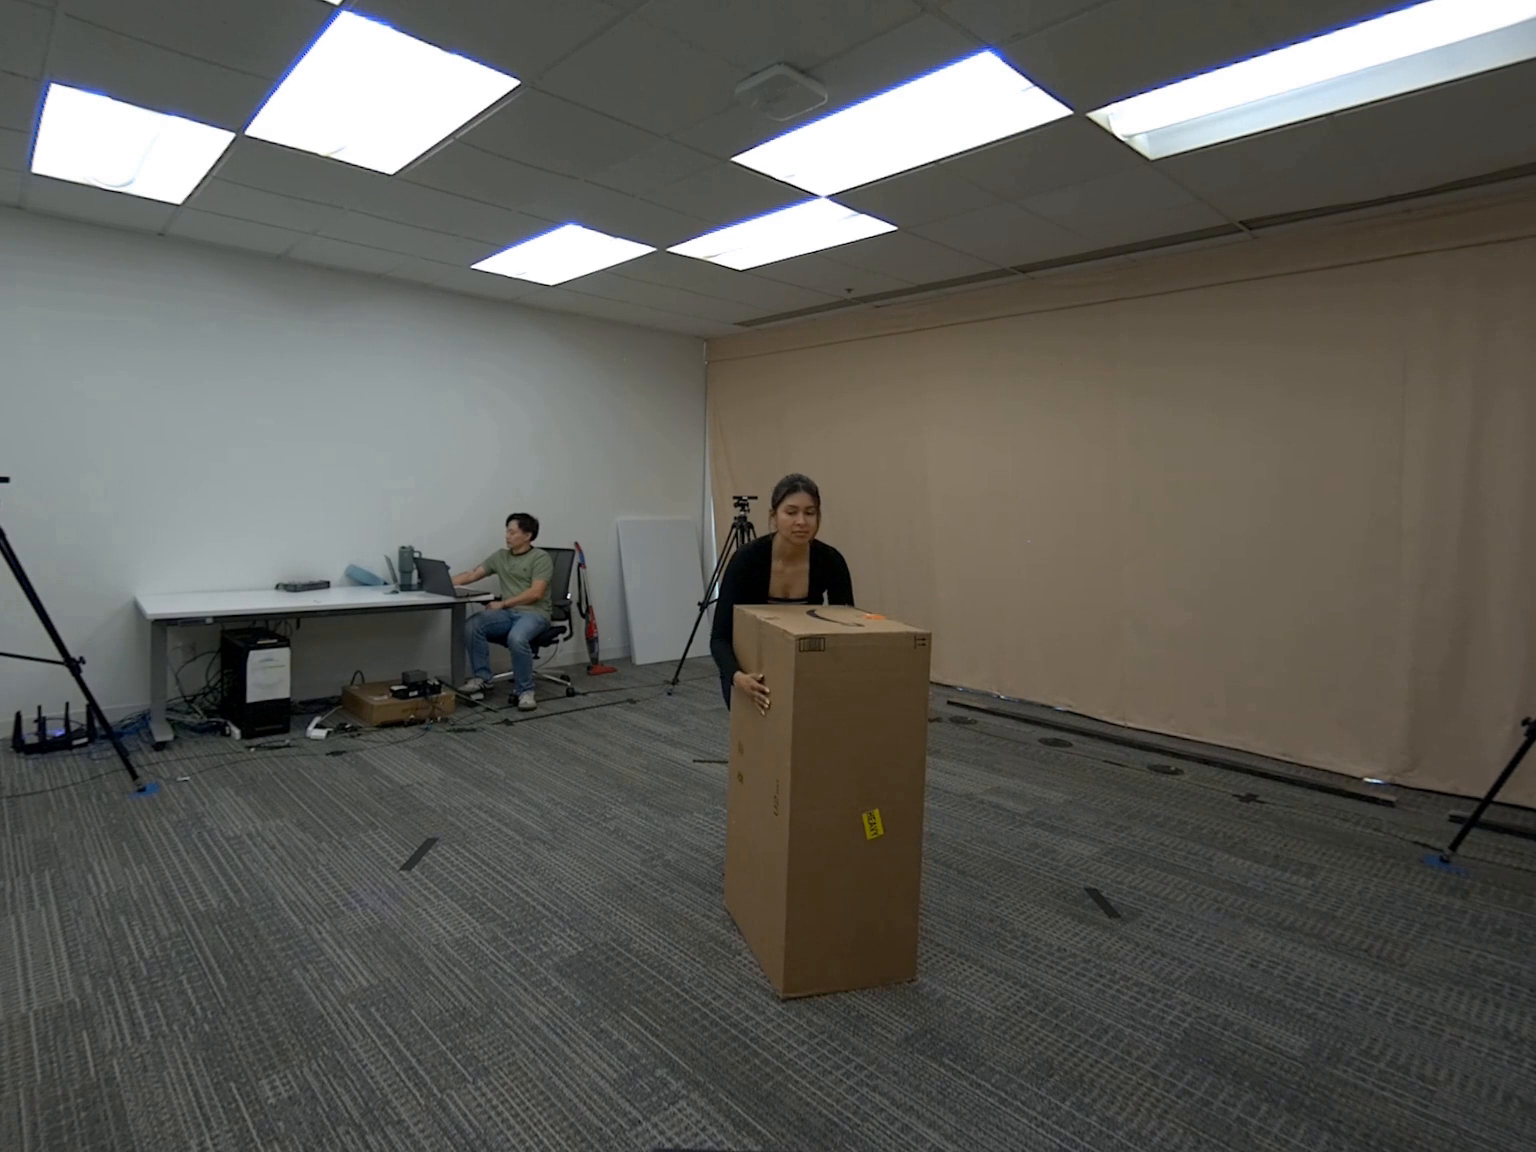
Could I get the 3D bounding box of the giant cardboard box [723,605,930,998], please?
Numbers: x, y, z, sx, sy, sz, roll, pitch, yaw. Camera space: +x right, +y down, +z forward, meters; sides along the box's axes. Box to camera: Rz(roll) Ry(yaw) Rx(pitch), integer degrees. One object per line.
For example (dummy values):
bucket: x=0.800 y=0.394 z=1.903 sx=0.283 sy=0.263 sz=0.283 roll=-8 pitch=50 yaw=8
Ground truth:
giant cardboard box: x=0.157 y=0.643 z=2.630 sx=0.420 sy=1.023 sz=0.587 roll=1 pitch=4 yaw=-18
